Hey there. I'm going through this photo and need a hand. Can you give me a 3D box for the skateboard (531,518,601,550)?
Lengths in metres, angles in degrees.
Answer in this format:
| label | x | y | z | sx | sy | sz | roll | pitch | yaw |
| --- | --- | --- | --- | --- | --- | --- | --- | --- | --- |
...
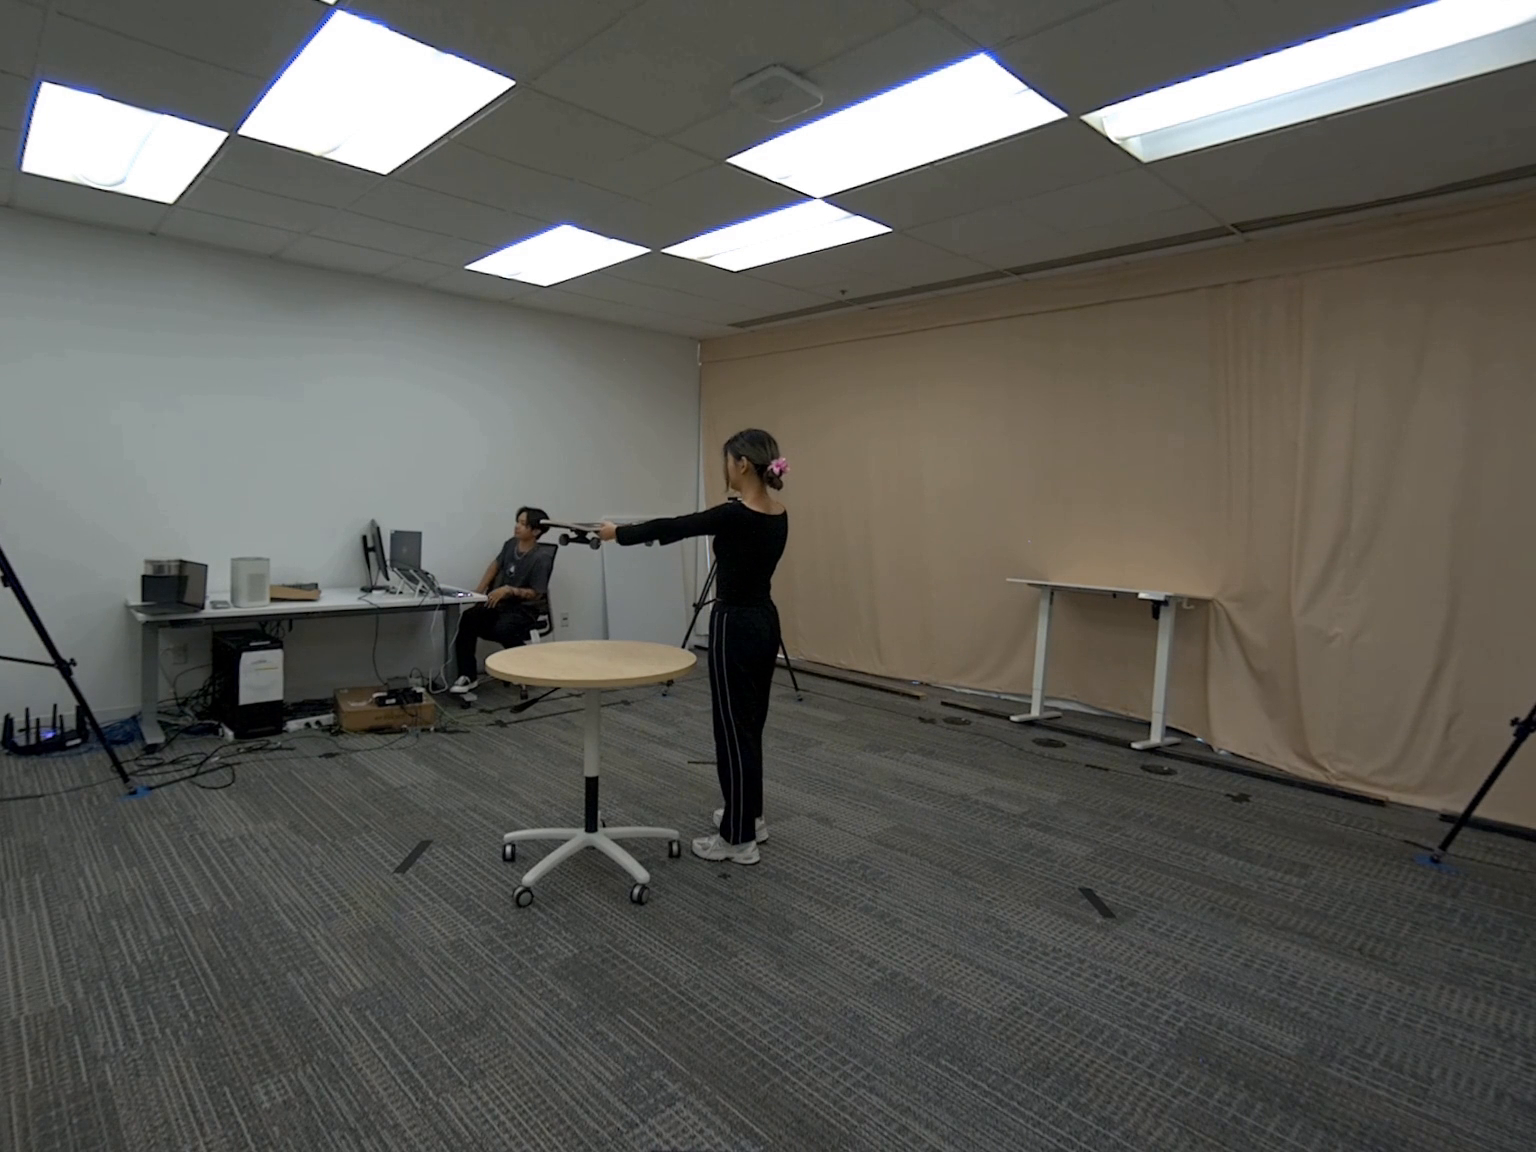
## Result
| label | x | y | z | sx | sy | sz | roll | pitch | yaw |
| --- | --- | --- | --- | --- | --- | --- | --- | --- | --- |
| skateboard | -0.671 | -0.179 | 3.528 | 0.197 | 0.110 | 0.771 | 5 | 6 | 27 |
